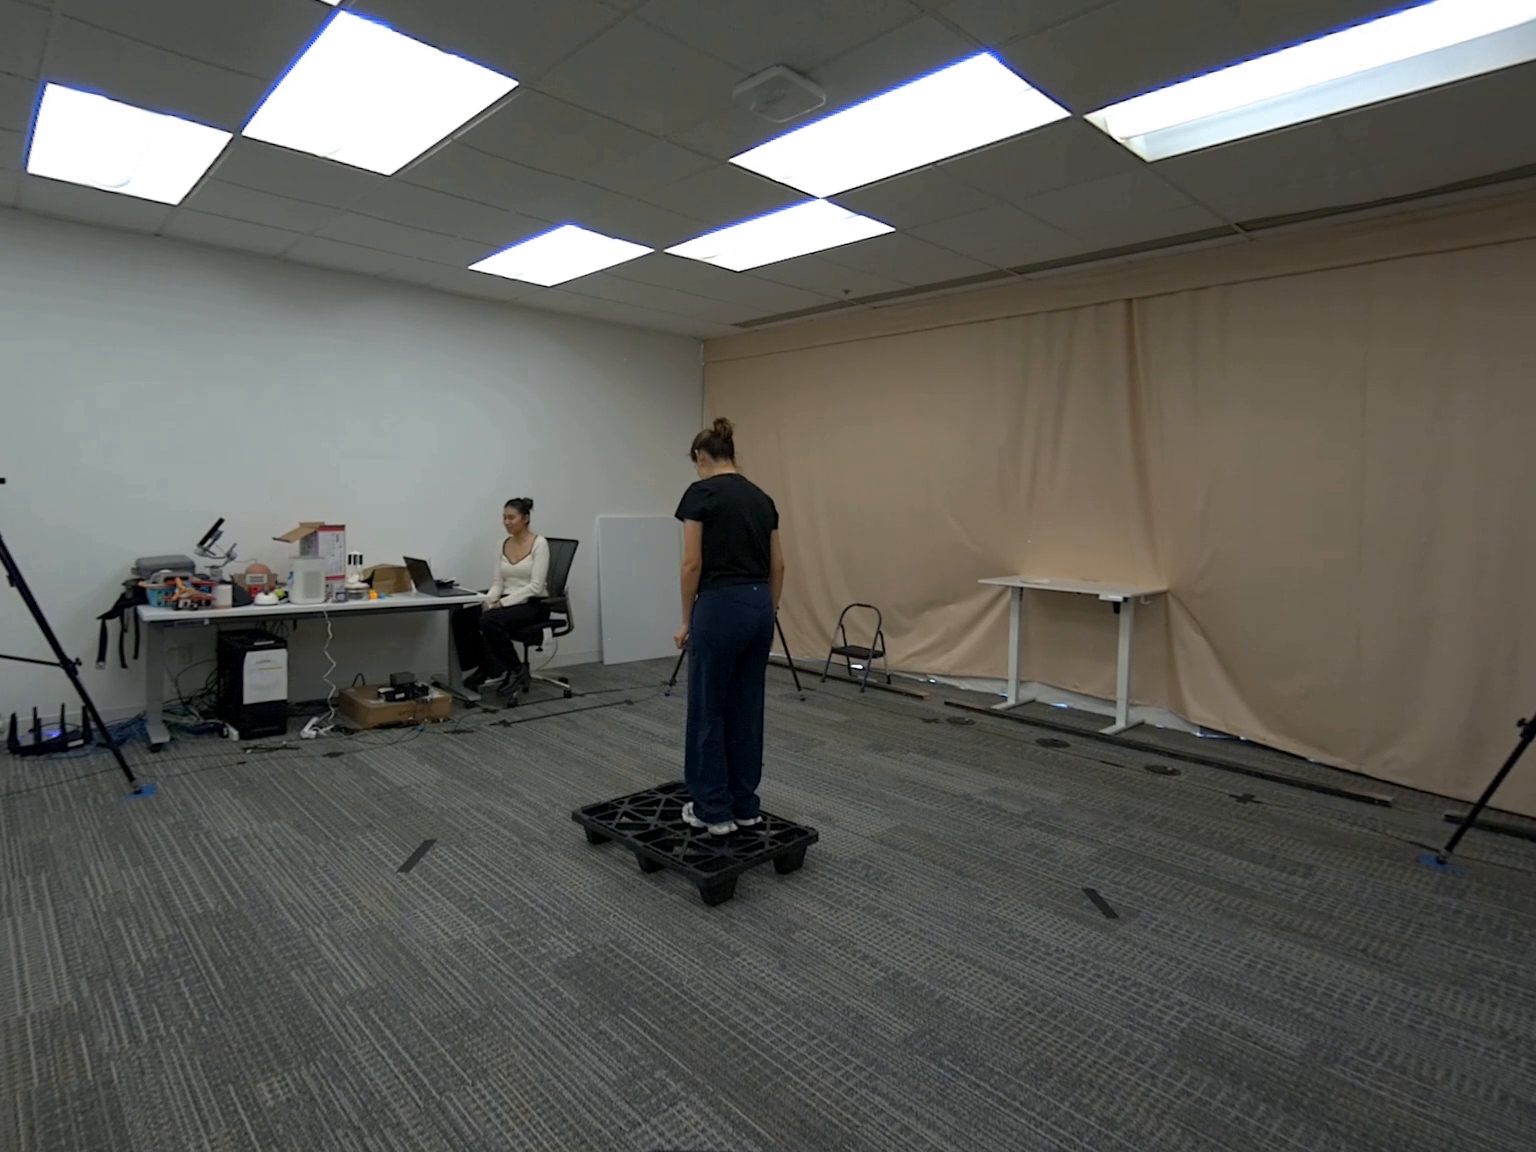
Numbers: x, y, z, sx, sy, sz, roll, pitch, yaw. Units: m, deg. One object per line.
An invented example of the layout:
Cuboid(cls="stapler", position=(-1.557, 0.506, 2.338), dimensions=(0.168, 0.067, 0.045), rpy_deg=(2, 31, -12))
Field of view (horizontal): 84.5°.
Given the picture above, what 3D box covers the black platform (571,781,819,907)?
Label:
Cuboid(cls="black platform", position=(-0.295, 1.020, 3.272), dimensions=(0.826, 0.143, 0.591), rpy_deg=(6, 7, 44))
